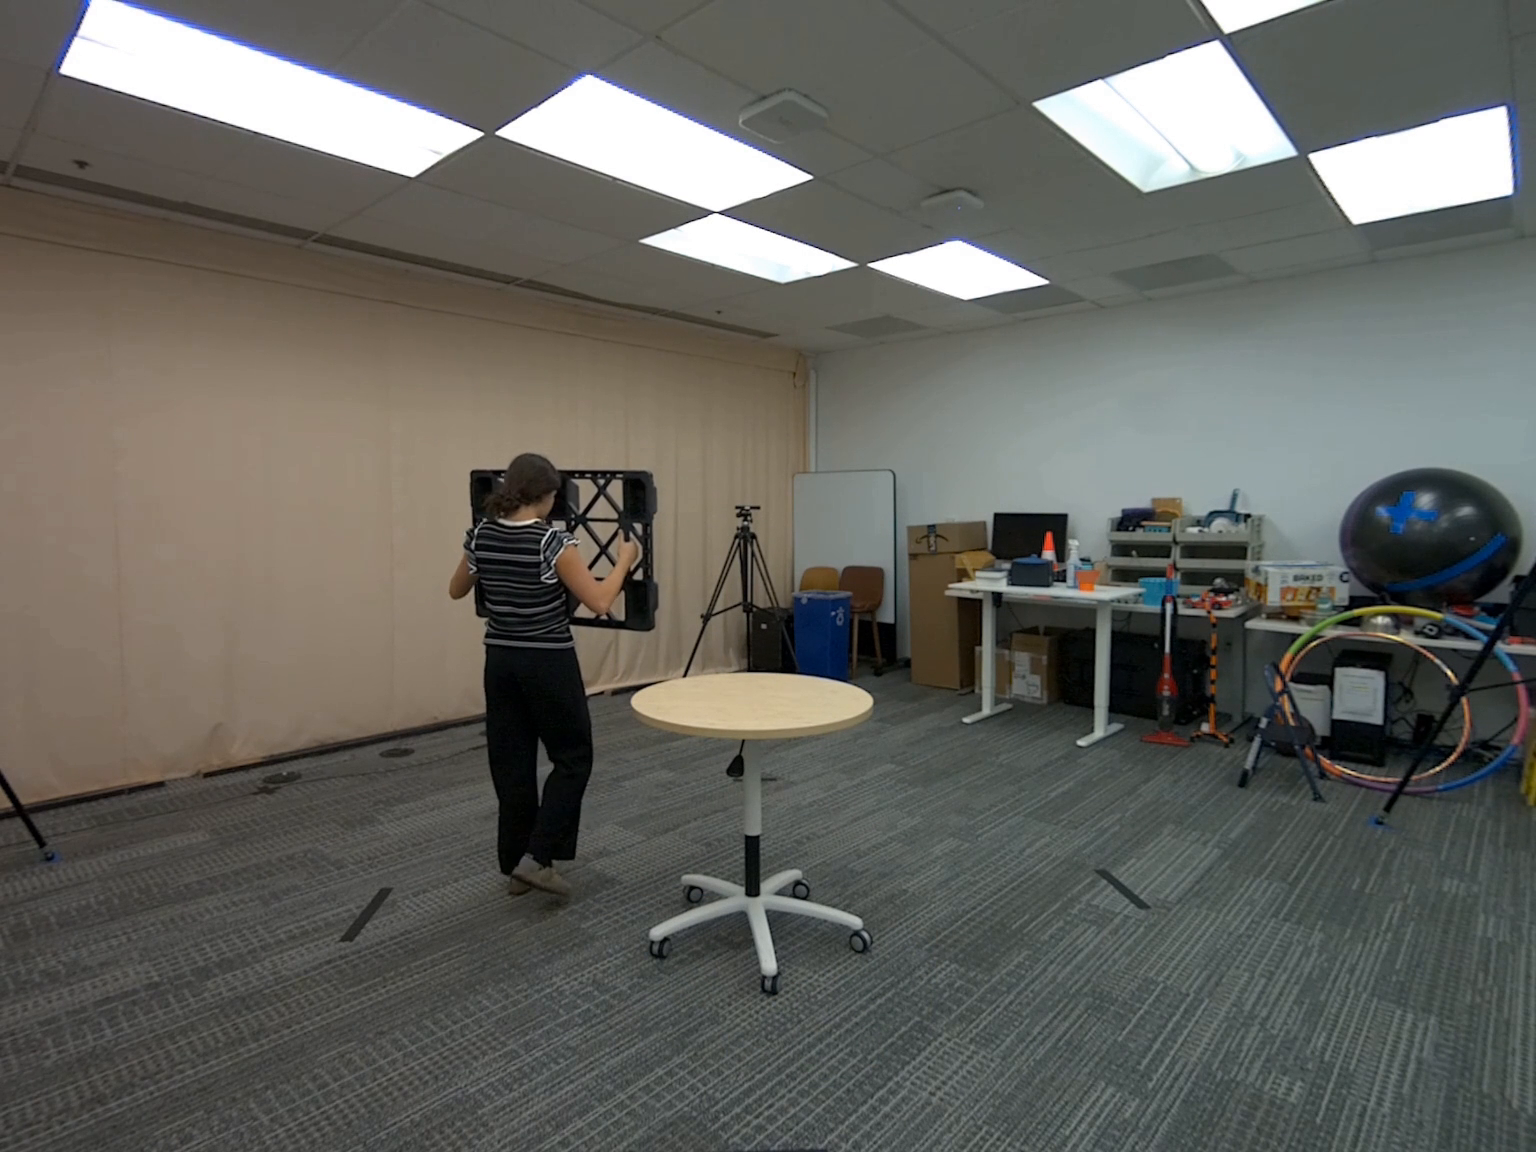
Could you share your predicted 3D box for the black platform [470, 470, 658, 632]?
[{"bbox_3d":[-0.795,-0.119,3.284,0.823,0.602,0.141,3,7,20],"label":"black platform"}]
